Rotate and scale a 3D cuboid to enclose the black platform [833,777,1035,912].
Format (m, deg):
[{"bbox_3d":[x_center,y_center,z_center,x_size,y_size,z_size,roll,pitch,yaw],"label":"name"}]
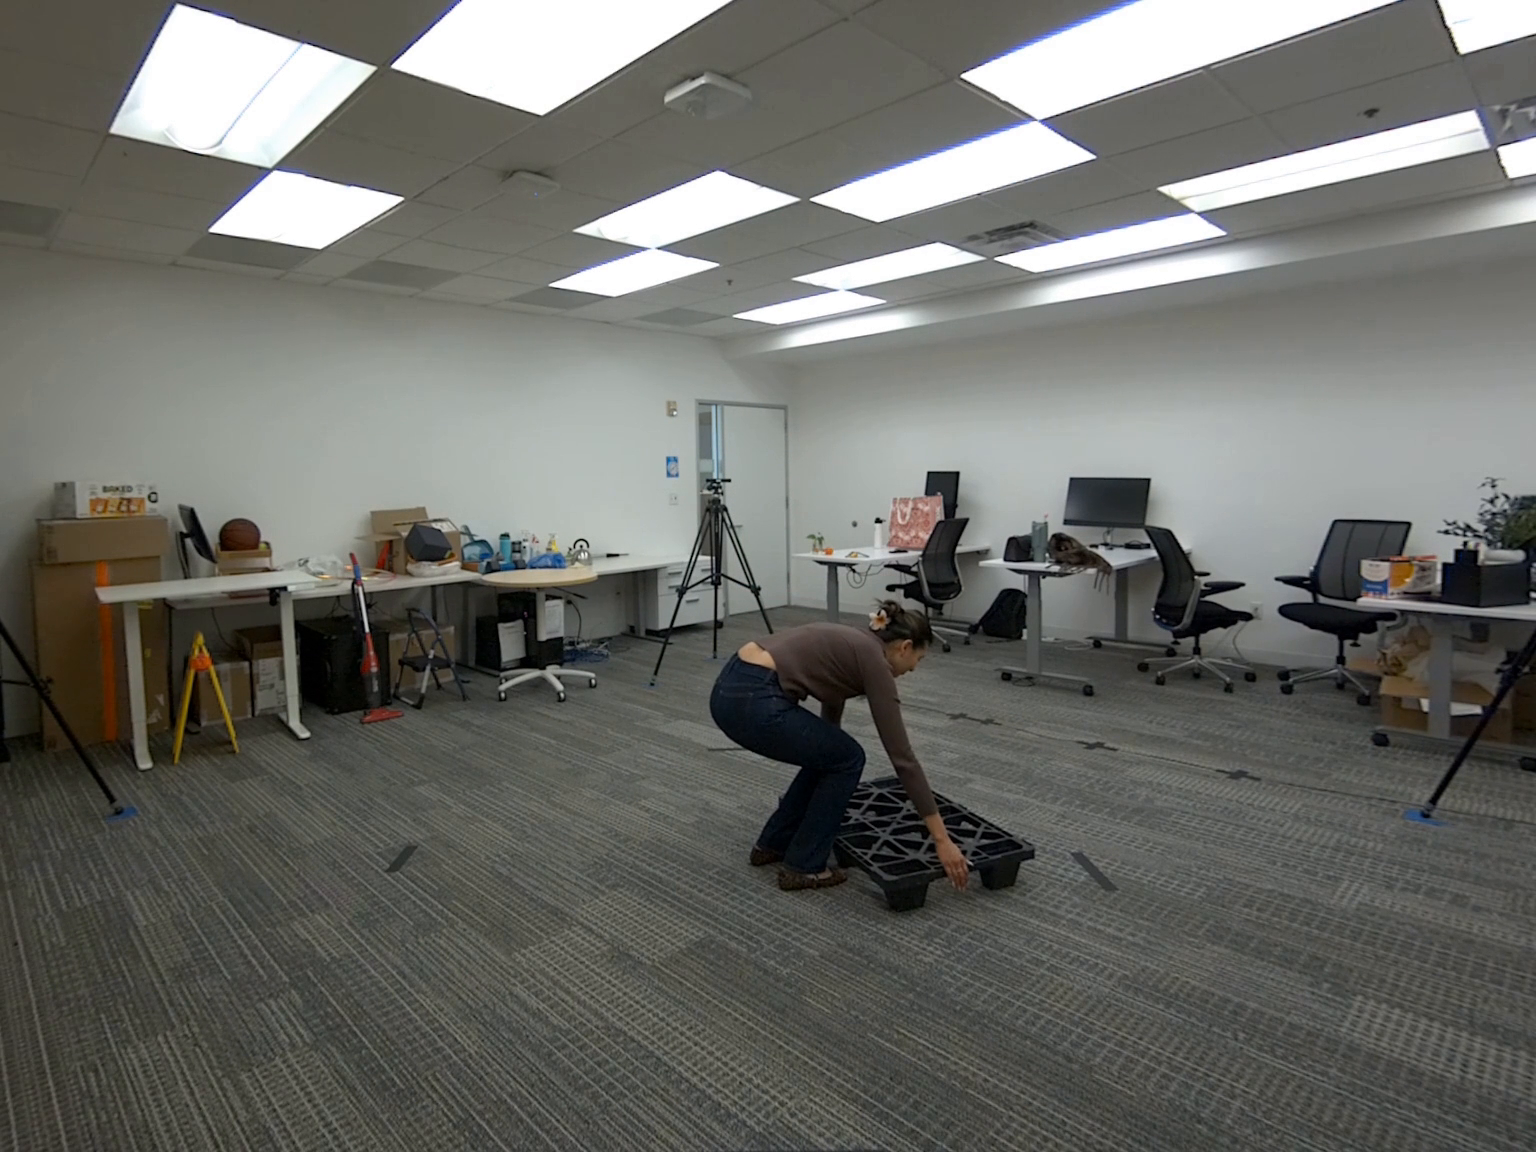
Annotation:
[{"bbox_3d":[0.479,0.967,3.150,0.593,0.143,0.825,-4,7,-23],"label":"black platform"}]
